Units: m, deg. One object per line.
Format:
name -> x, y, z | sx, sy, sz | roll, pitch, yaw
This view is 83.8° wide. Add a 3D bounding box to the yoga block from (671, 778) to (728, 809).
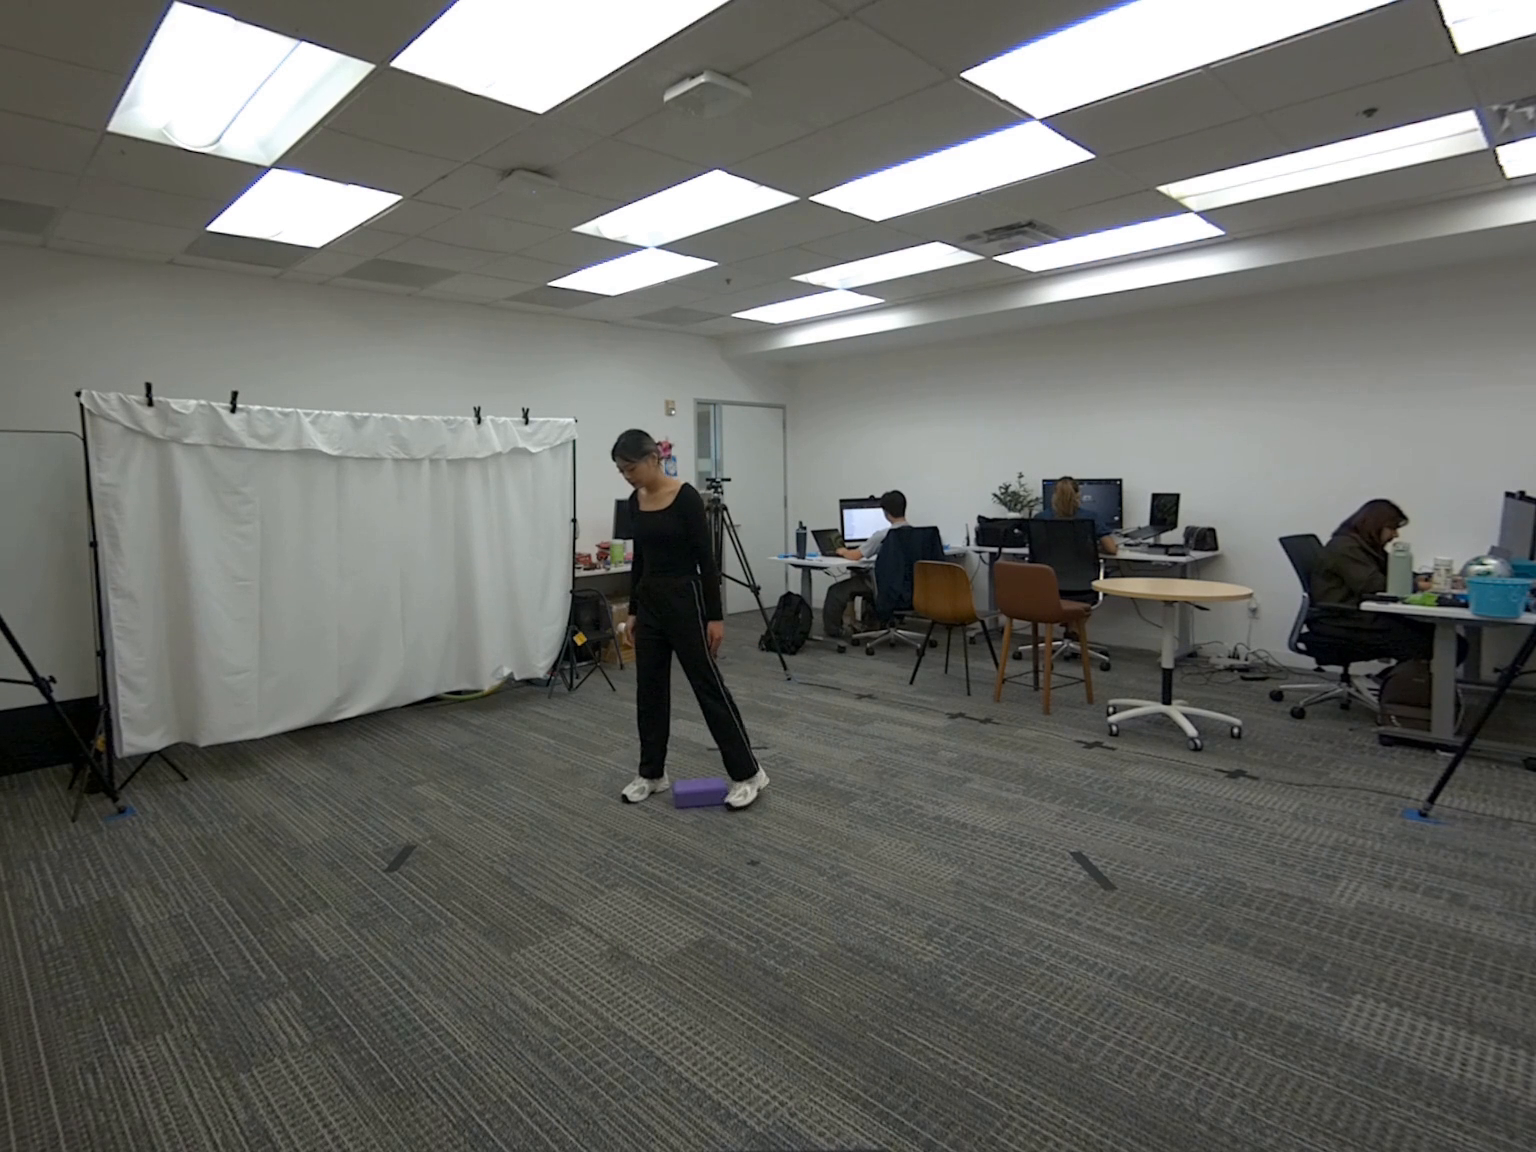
yoga block -> -0.296, 0.939, 3.714 | 0.227, 0.076, 0.151 | -2, 8, -10
